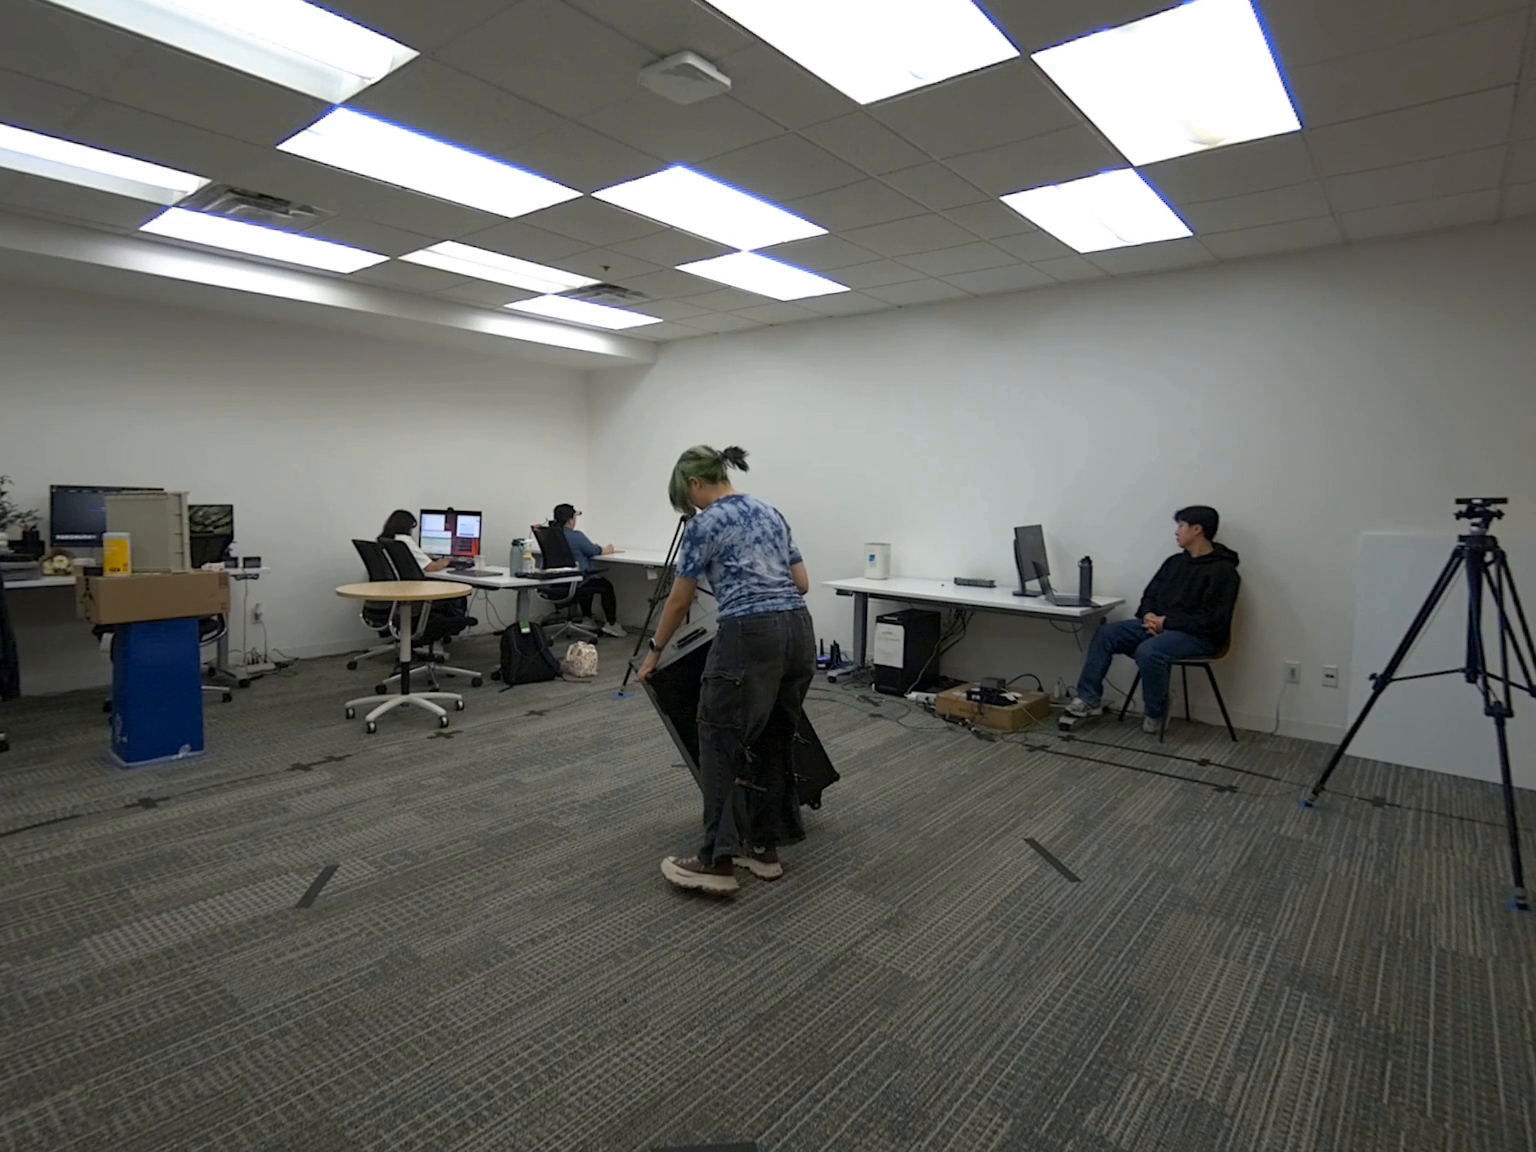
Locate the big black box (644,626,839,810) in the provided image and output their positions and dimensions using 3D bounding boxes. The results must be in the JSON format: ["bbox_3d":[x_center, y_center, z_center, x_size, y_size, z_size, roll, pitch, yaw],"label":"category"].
[{"bbox_3d":[-0.147,0.608,3.474,0.518,0.851,0.404,-31,10,-14],"label":"big black box"}]
